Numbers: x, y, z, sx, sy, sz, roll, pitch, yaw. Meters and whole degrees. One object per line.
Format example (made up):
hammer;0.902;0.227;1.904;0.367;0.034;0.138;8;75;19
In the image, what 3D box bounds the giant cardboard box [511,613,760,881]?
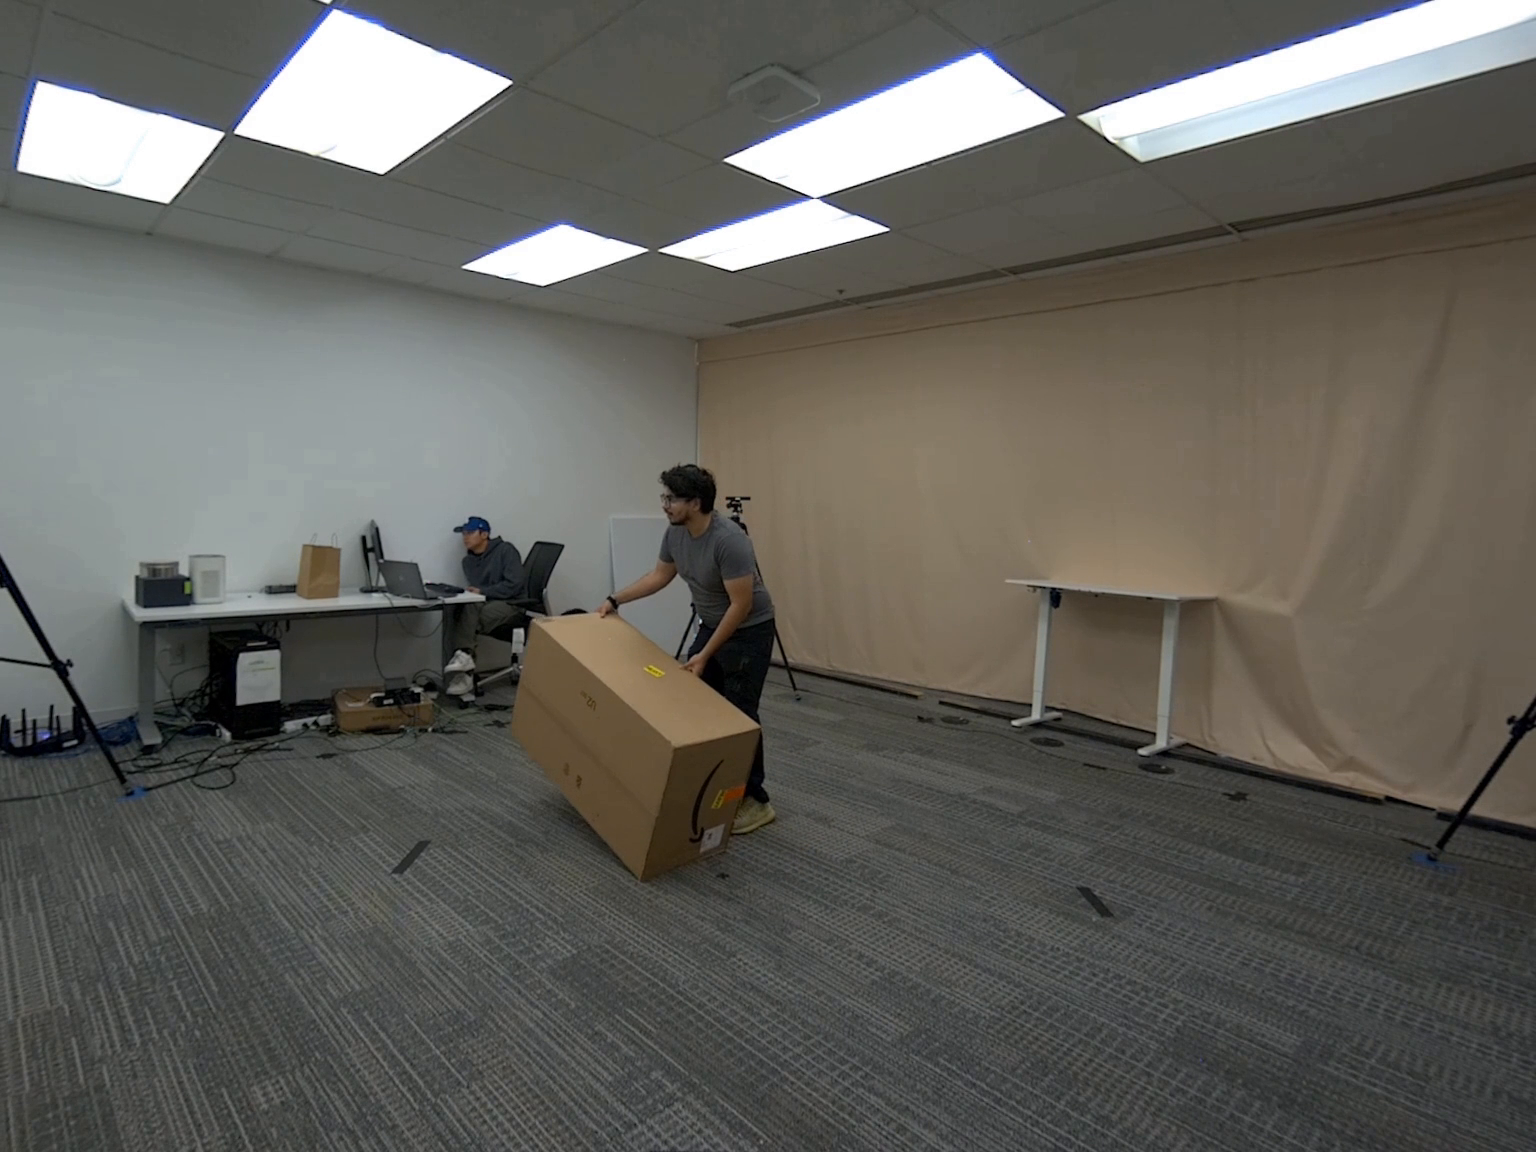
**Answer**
giant cardboard box;-0.592;0.639;3.435;0.416;0.573;1.058;-2;24;-45
